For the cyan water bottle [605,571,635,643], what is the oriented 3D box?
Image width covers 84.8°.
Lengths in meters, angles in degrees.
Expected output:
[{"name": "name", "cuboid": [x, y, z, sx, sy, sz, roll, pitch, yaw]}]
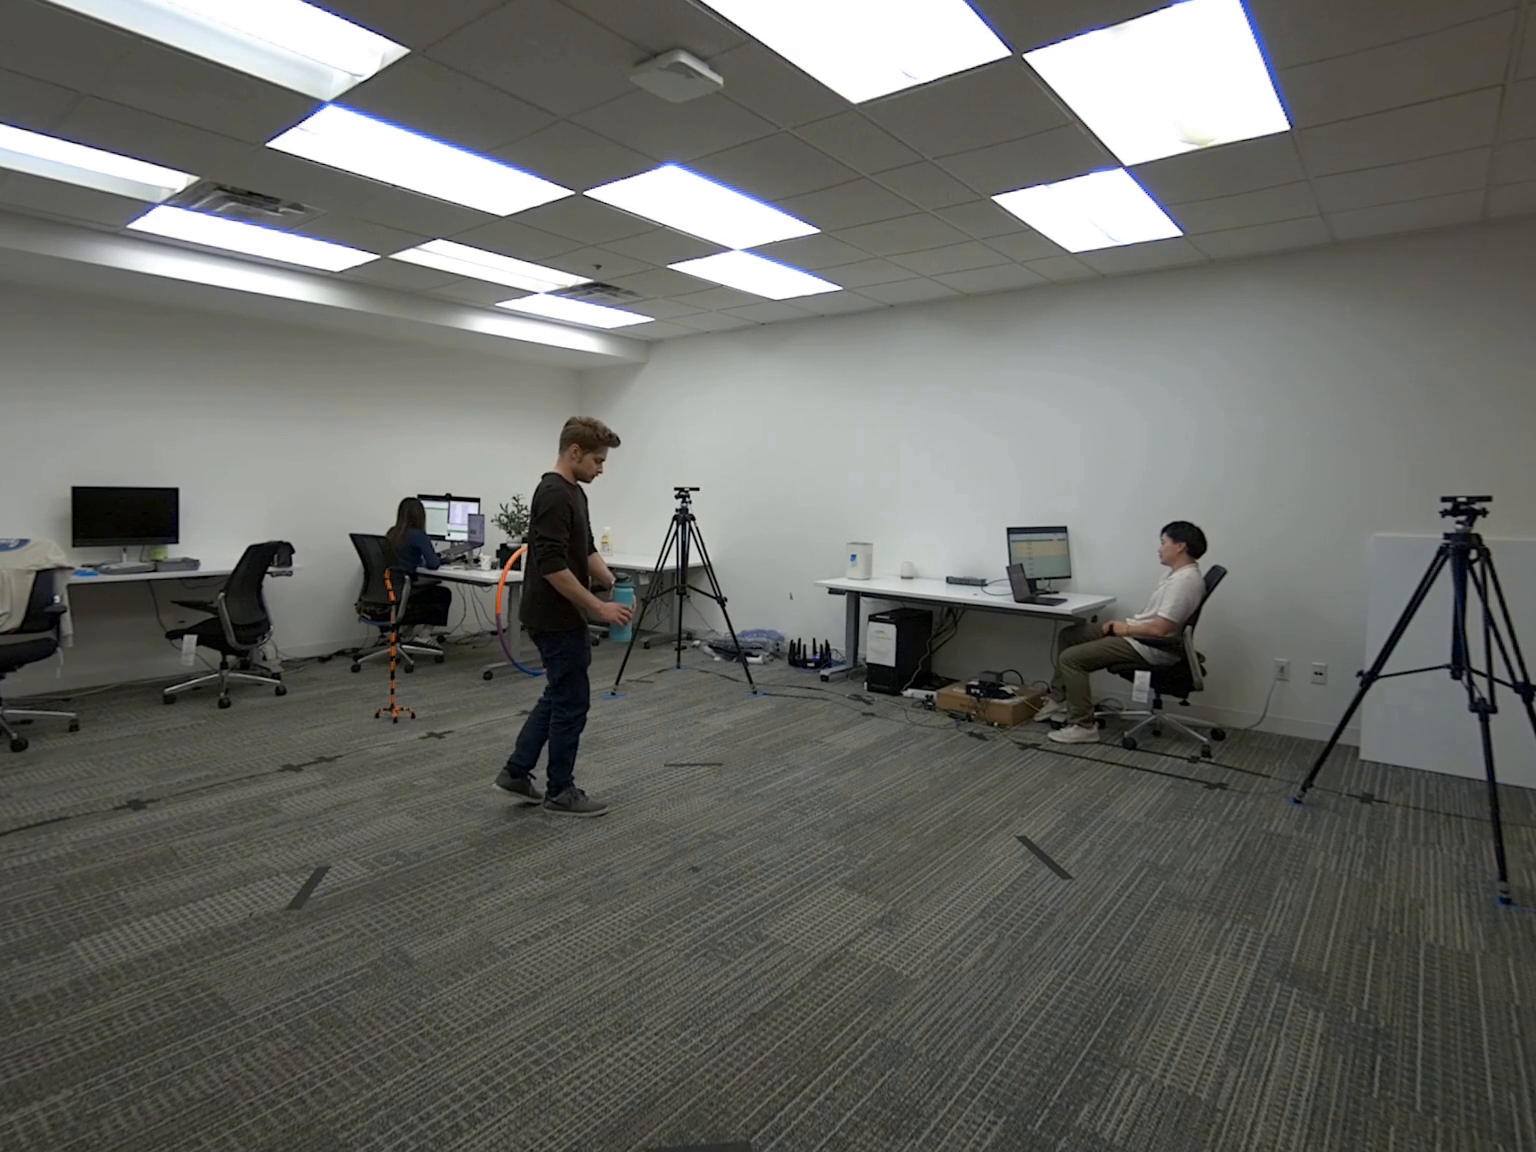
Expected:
[{"name": "cyan water bottle", "cuboid": [-0.627, 0.127, 3.544, 0.092, 0.282, 0.093, 5, 4, -2]}]
